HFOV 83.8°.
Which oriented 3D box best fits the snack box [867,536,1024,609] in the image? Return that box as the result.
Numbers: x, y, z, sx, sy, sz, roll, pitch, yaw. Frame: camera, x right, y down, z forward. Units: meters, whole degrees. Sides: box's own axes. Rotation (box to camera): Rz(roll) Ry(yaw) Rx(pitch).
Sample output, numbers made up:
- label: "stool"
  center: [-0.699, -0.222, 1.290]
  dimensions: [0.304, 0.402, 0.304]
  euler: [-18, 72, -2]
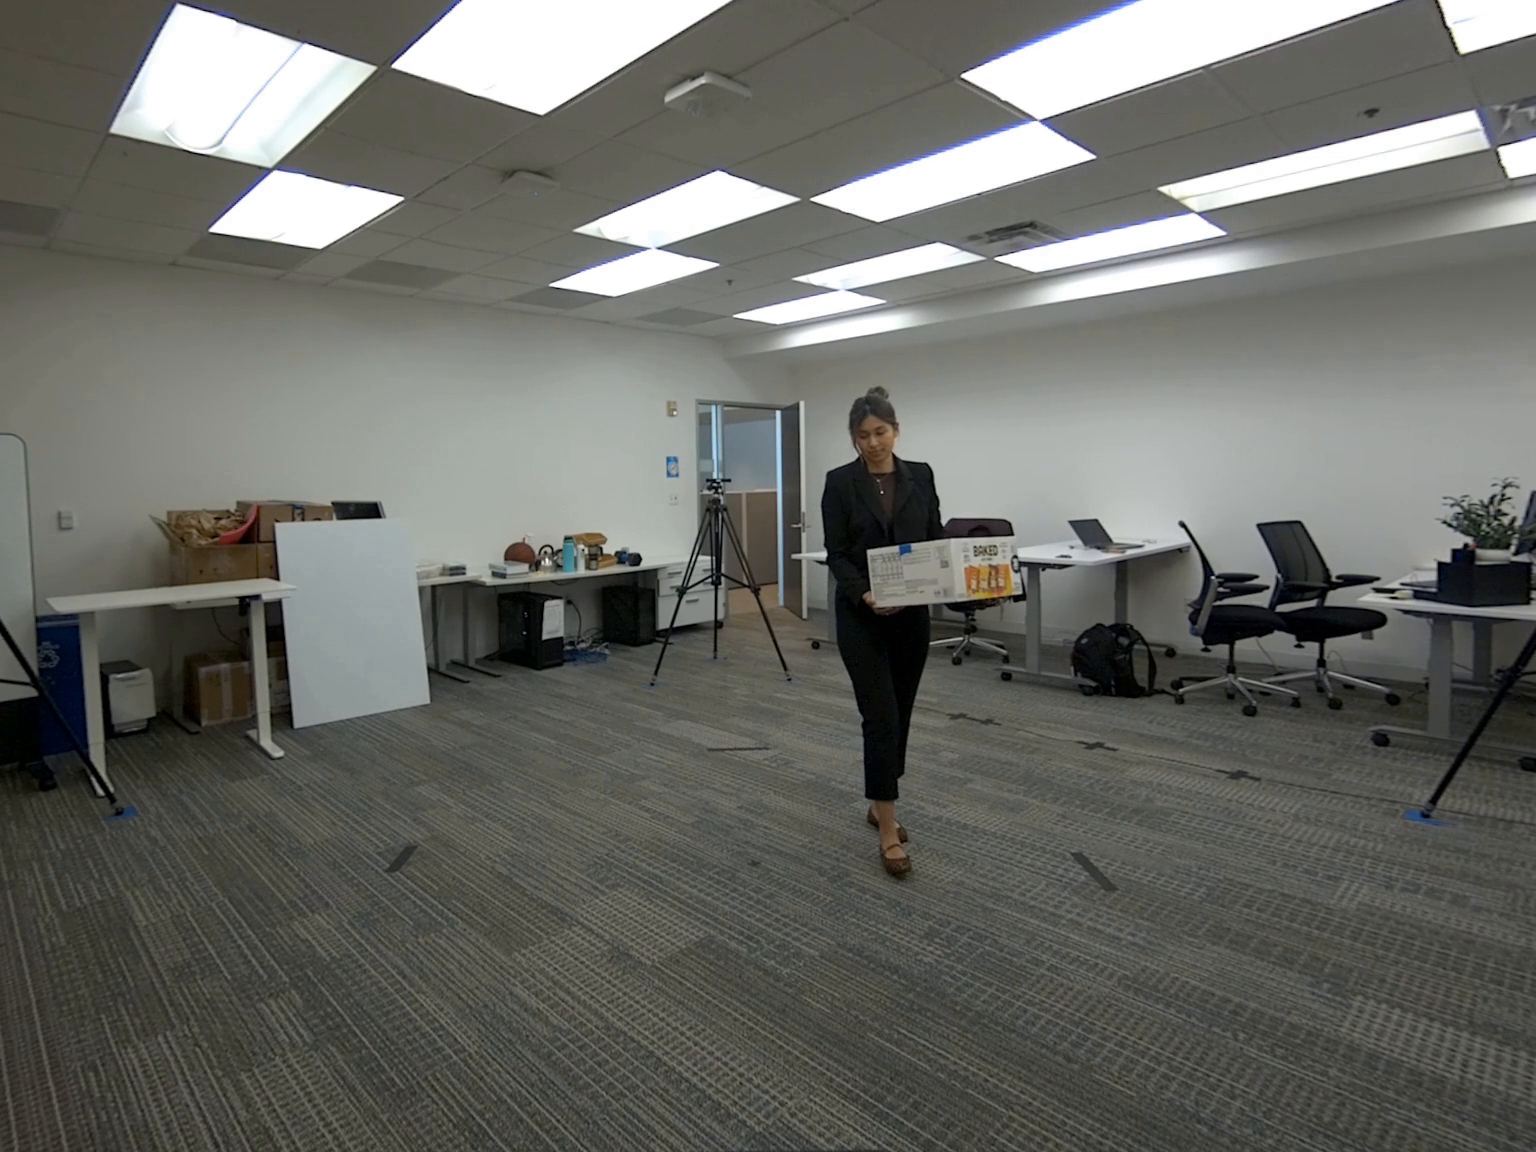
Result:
- label: "snack box"
  center: [0.608, -0.011, 2.944]
  dimensions: [0.394, 0.206, 0.348]
  euler: [-4, -3, -43]
